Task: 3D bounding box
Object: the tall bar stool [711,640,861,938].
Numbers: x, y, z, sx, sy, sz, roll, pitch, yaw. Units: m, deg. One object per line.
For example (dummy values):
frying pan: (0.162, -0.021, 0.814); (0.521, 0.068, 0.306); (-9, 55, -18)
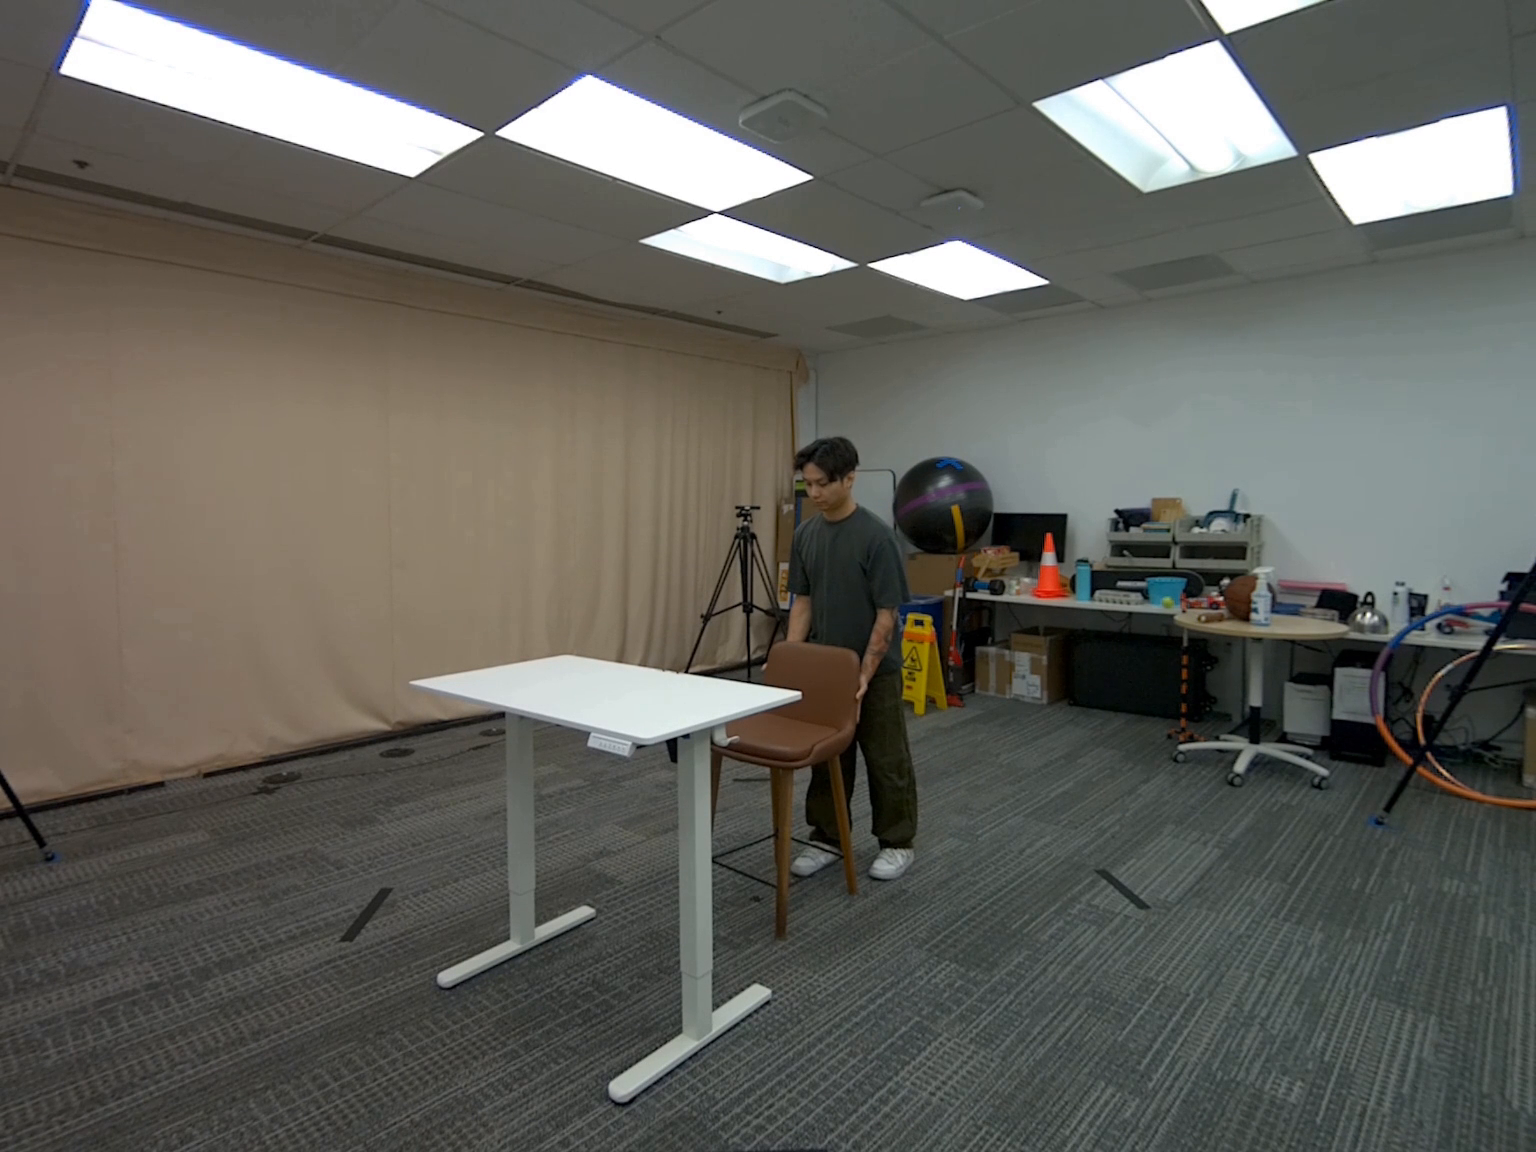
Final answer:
tall bar stool: (0.043, 0.709, 2.977); (0.471, 0.889, 0.453); (2, 2, 42)
